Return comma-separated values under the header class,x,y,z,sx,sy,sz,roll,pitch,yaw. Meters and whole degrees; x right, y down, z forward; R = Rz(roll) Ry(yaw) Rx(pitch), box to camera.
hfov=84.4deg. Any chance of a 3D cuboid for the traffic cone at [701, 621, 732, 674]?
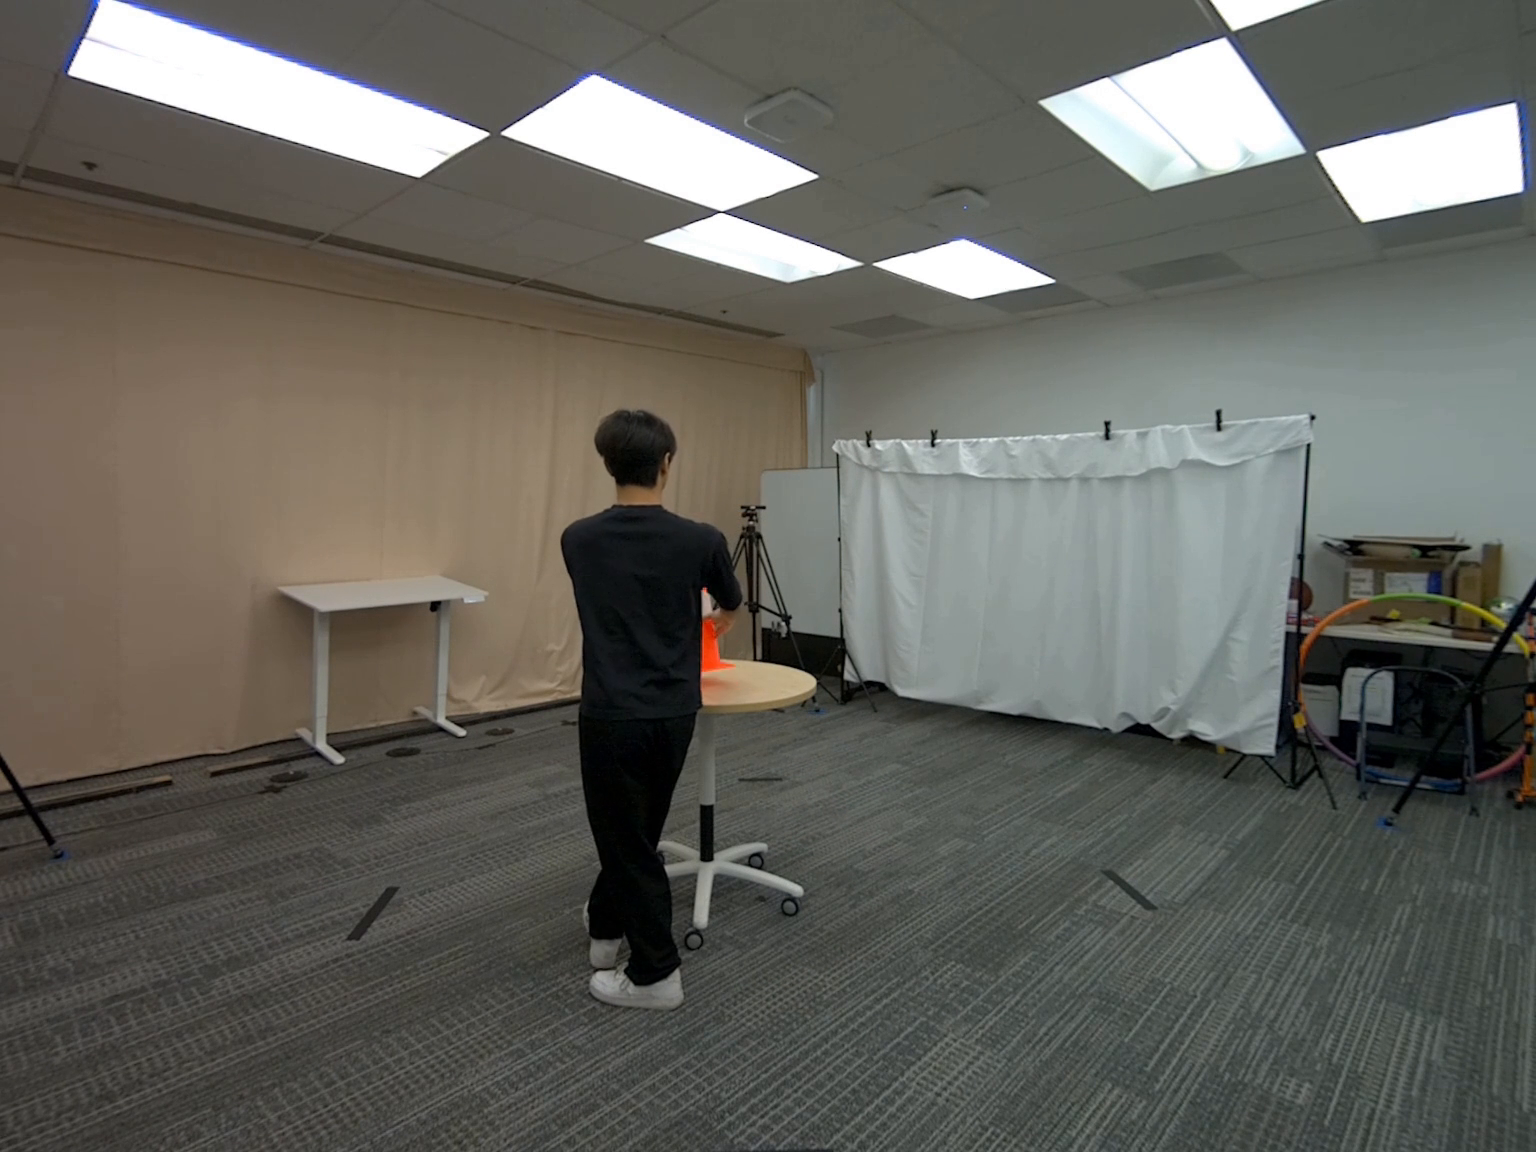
class,x,y,z,sx,sy,sz,roll,pitch,yaw
traffic cone,-0.239,0.096,2.861,0.212,0.383,0.197,2,4,42
